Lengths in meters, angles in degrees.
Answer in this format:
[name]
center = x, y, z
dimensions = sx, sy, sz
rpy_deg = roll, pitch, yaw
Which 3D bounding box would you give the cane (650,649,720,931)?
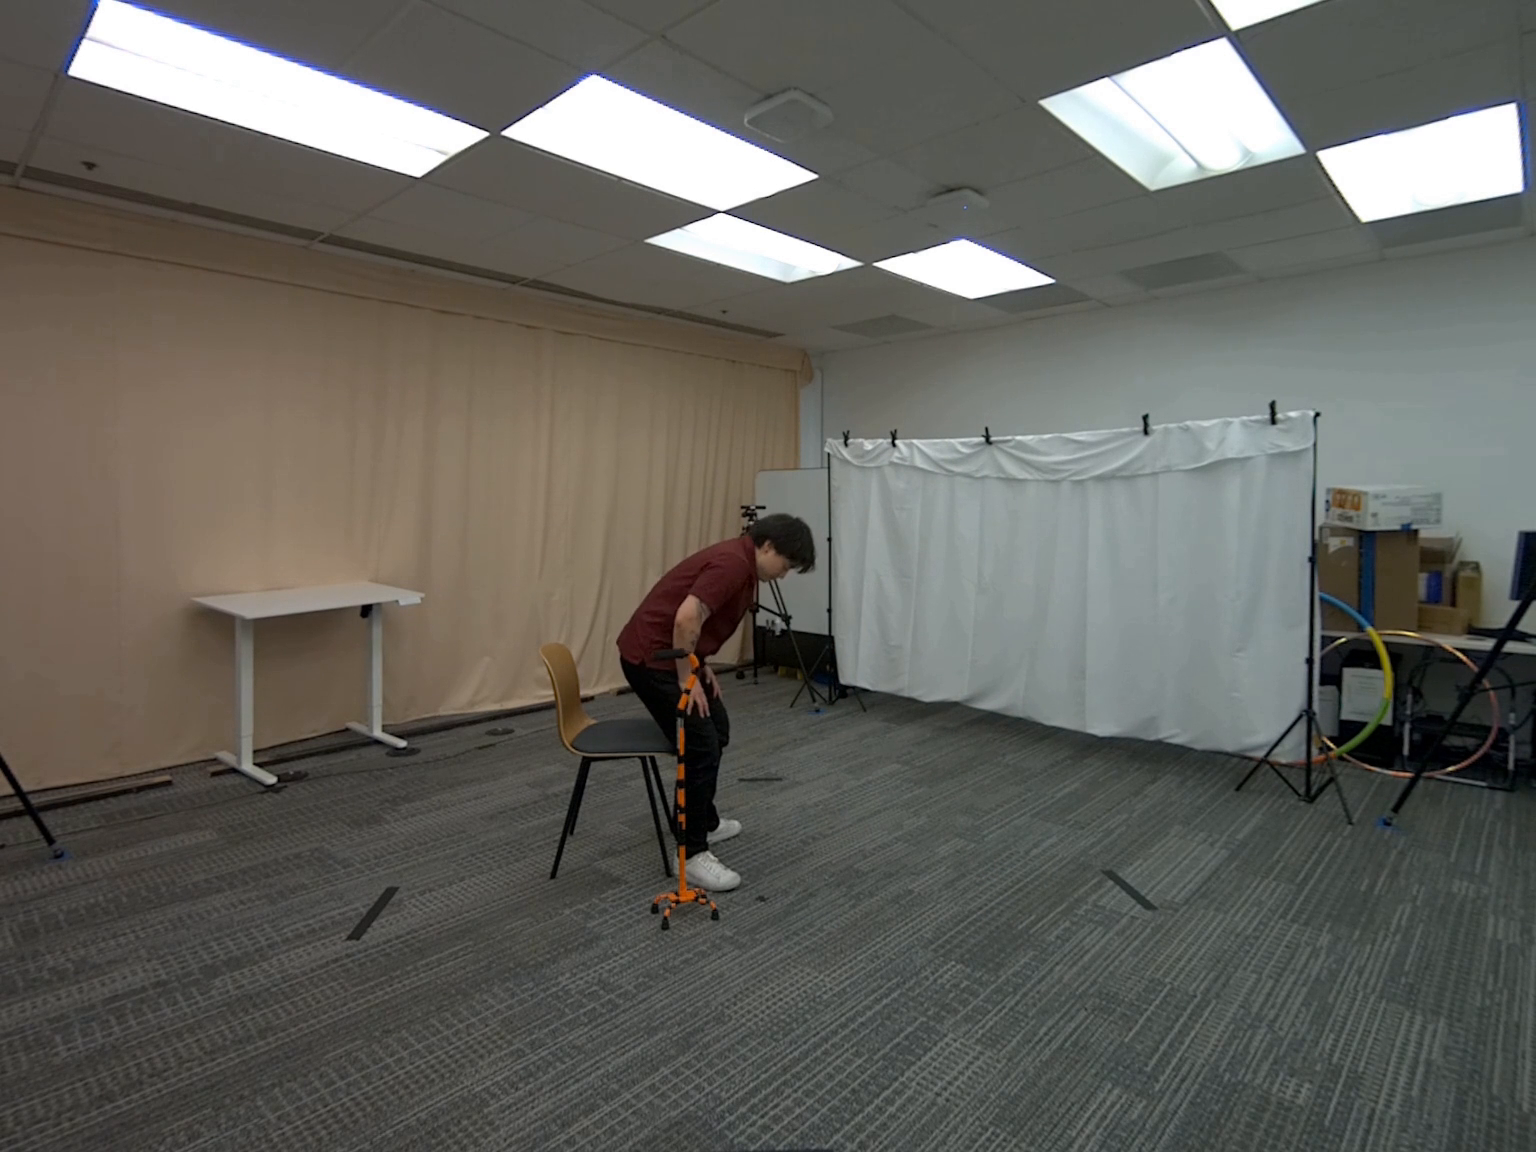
[cane]
center = -0.289, 0.698, 2.847
dimensions = 0.202, 0.907, 0.155
rpy_deg = -1, 2, -23
